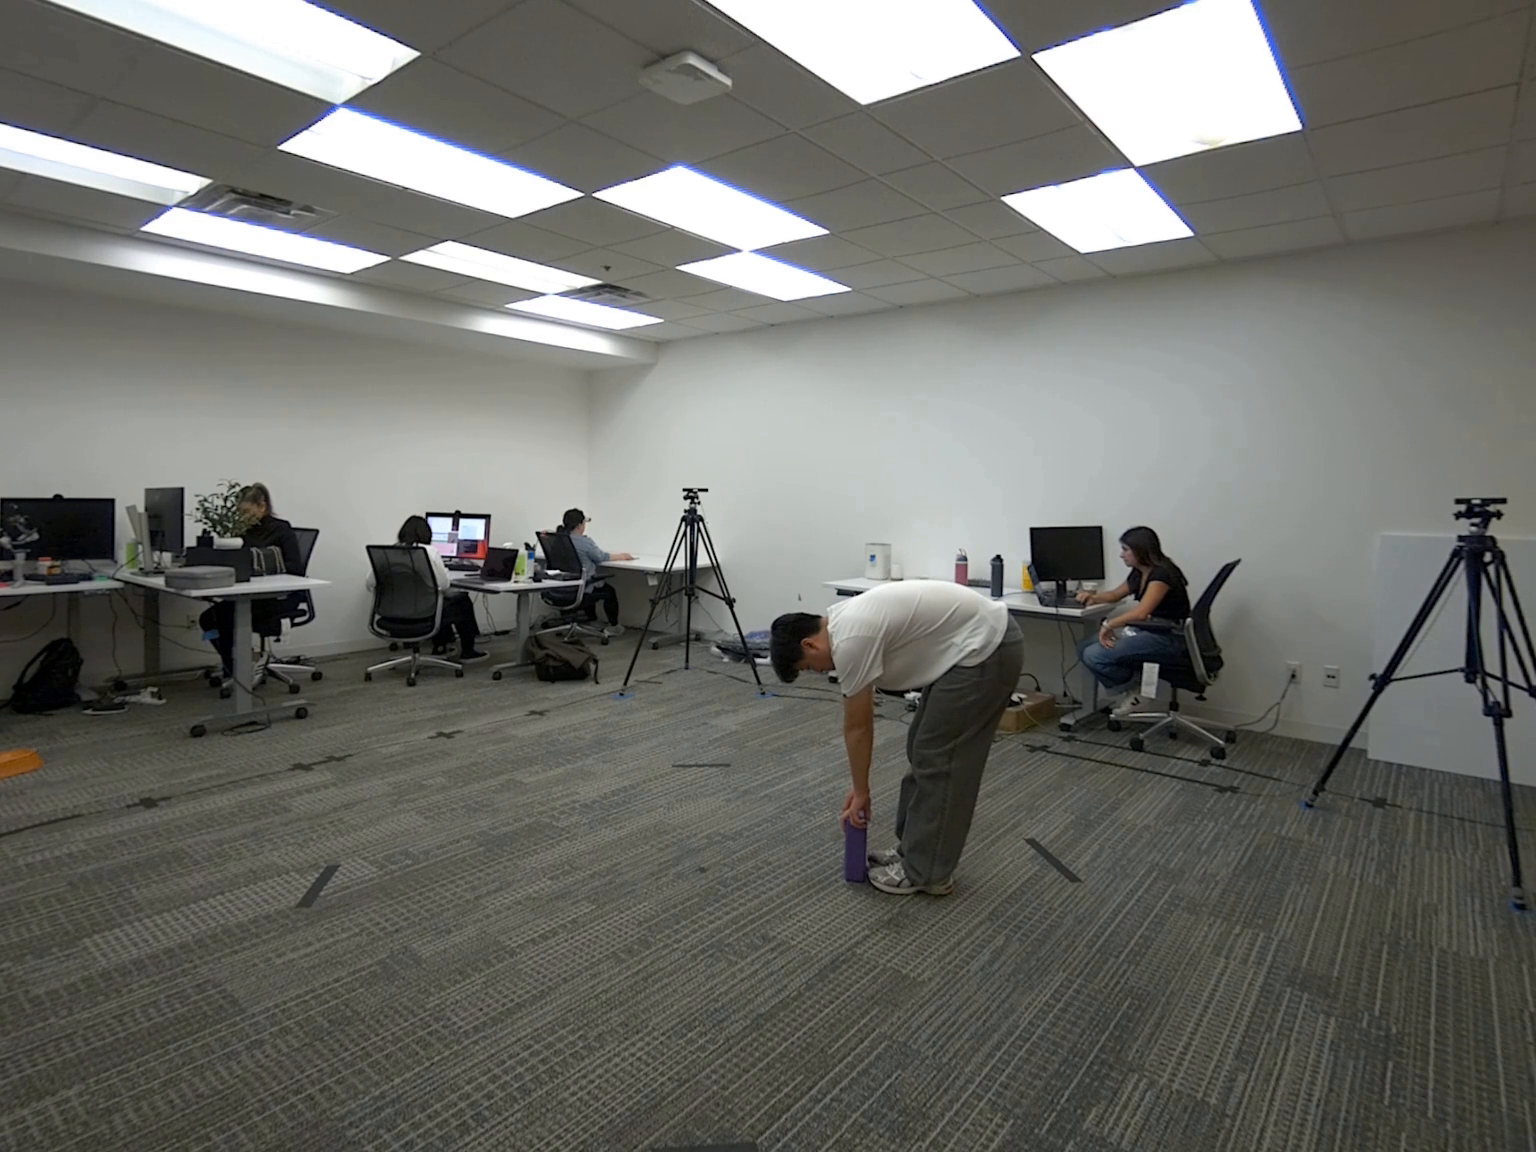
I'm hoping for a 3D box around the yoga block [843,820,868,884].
[{"bbox_3d":[0.322,0.972,3.112,0.077,0.229,0.148,2,3,3],"label":"yoga block"}]
